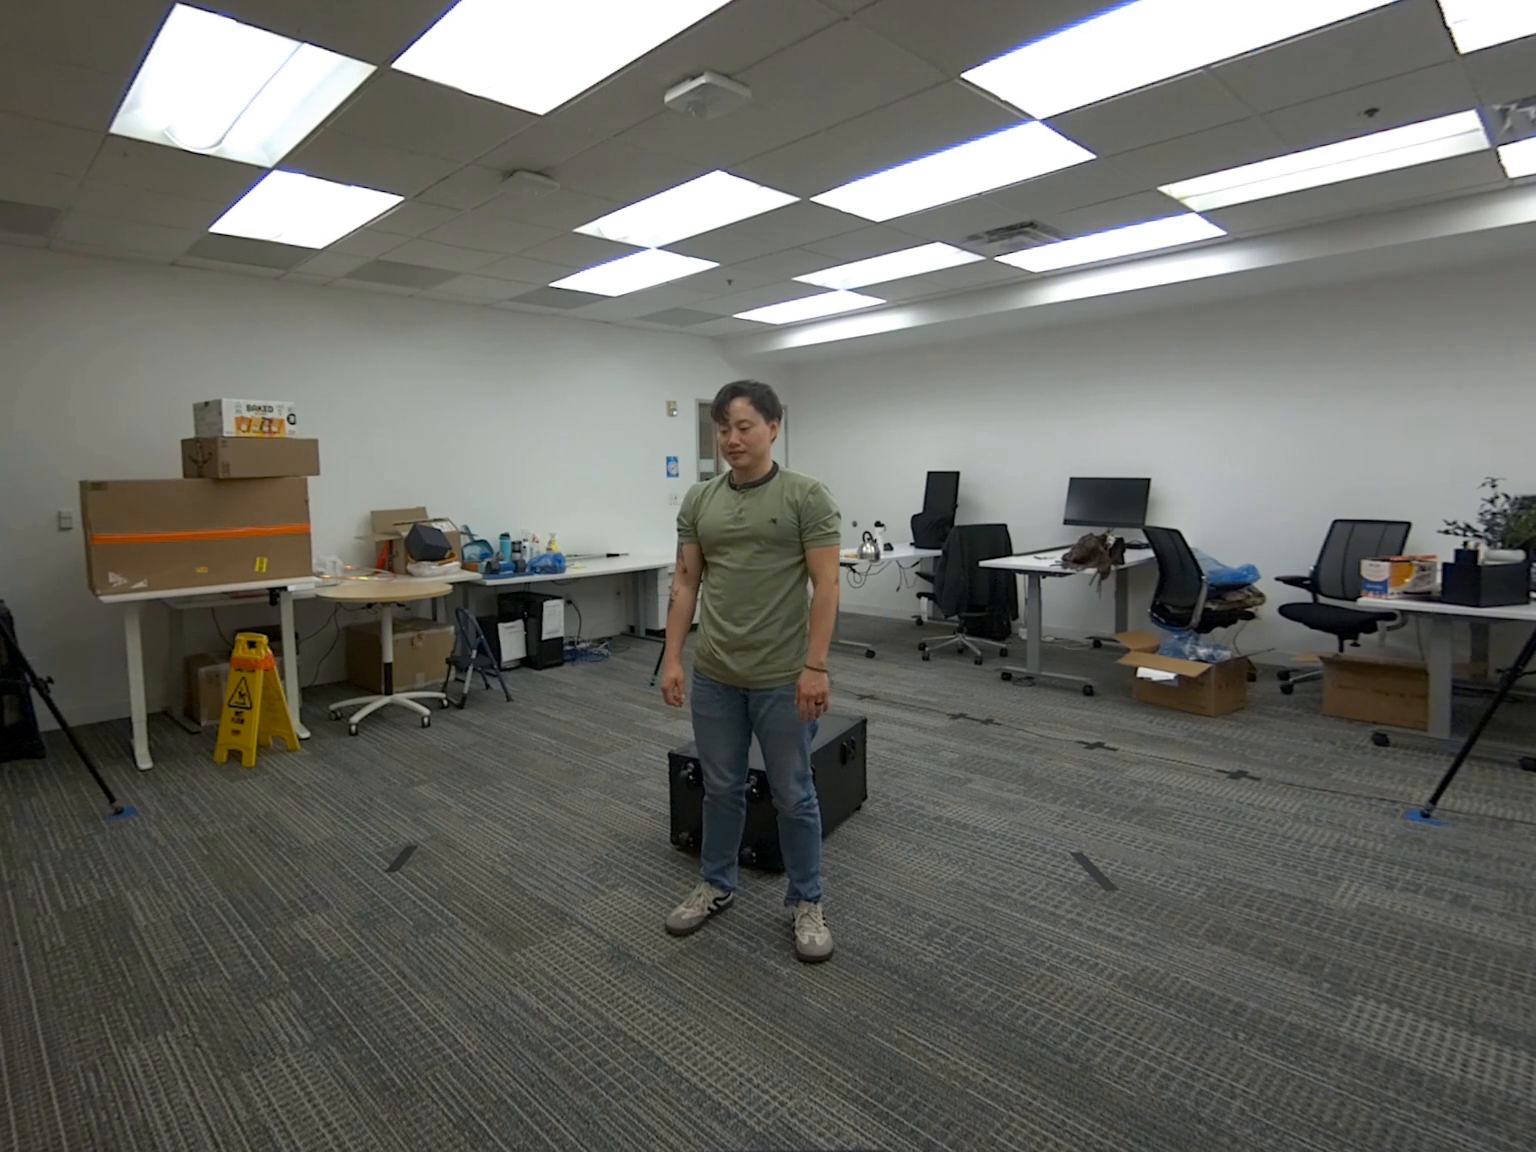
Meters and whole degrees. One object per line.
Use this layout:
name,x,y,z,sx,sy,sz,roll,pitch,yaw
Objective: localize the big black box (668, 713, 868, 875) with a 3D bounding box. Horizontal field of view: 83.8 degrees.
big black box,0.005,0.817,3.395,0.535,0.394,0.843,3,7,29
